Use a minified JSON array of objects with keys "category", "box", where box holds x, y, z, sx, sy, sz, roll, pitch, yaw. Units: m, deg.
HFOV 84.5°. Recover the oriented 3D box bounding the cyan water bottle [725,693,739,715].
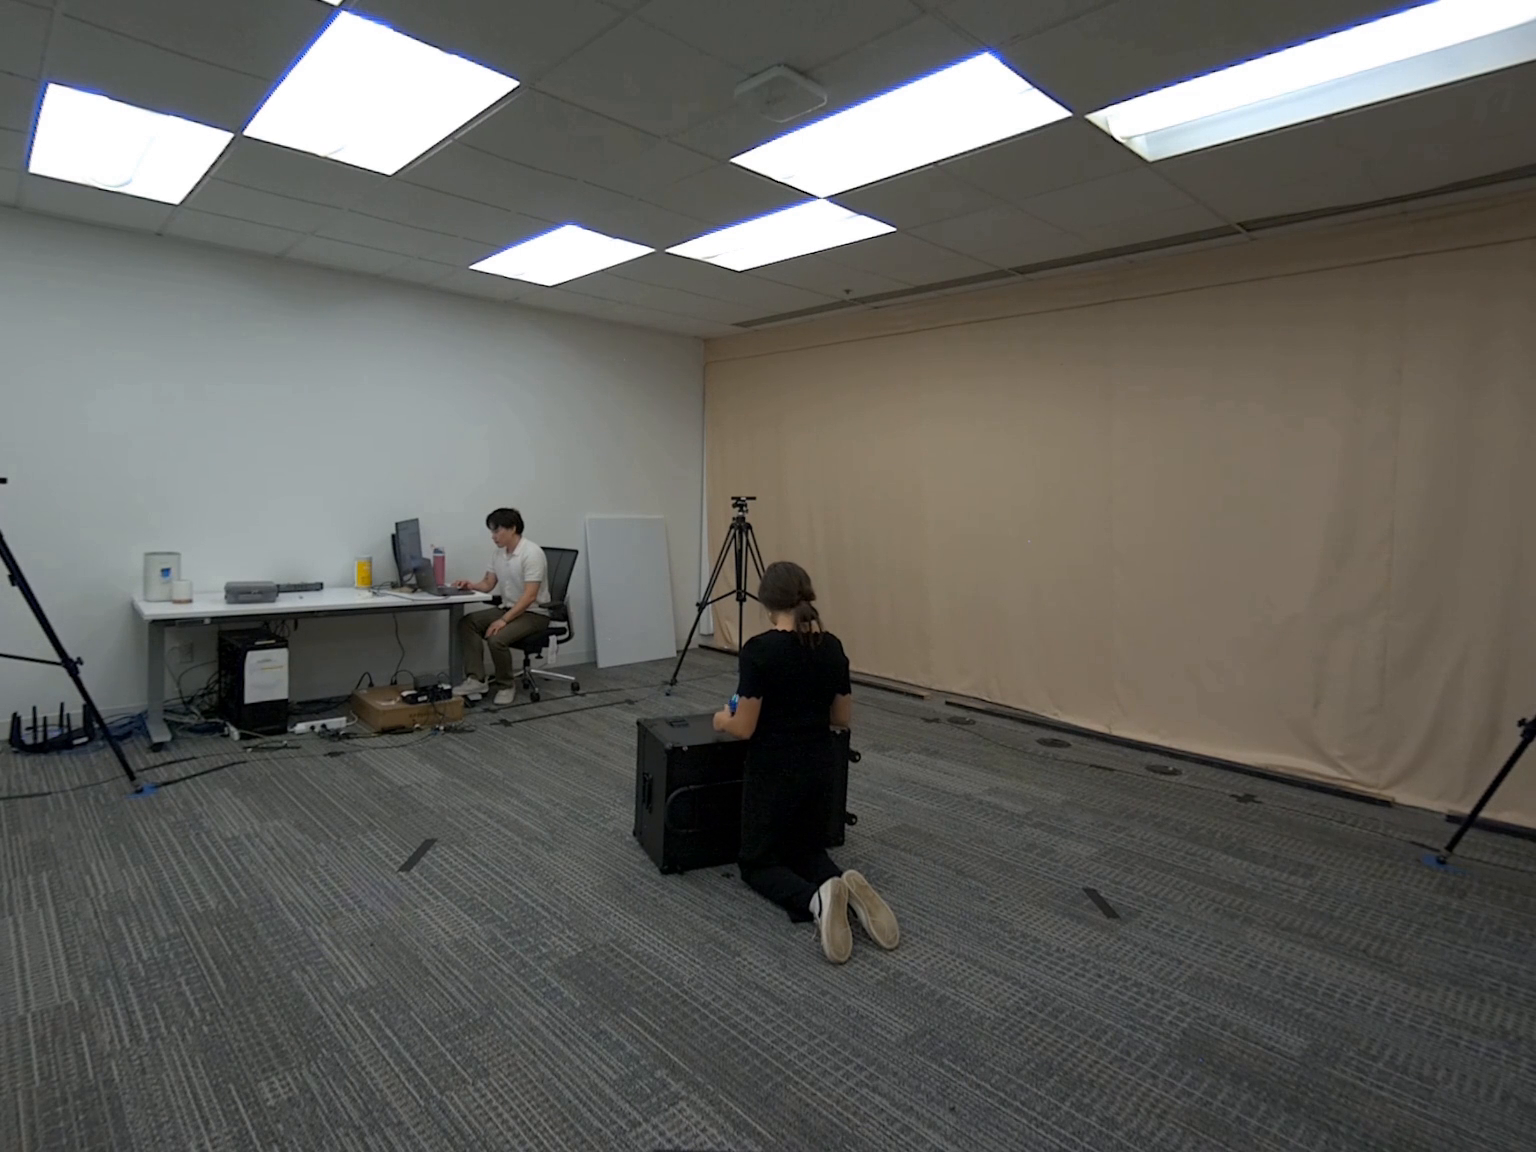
[{"category":"cyan water bottle","box":[-0.068,0.542,3.434,0.090,0.092,0.291,-1,9,-32]}]
